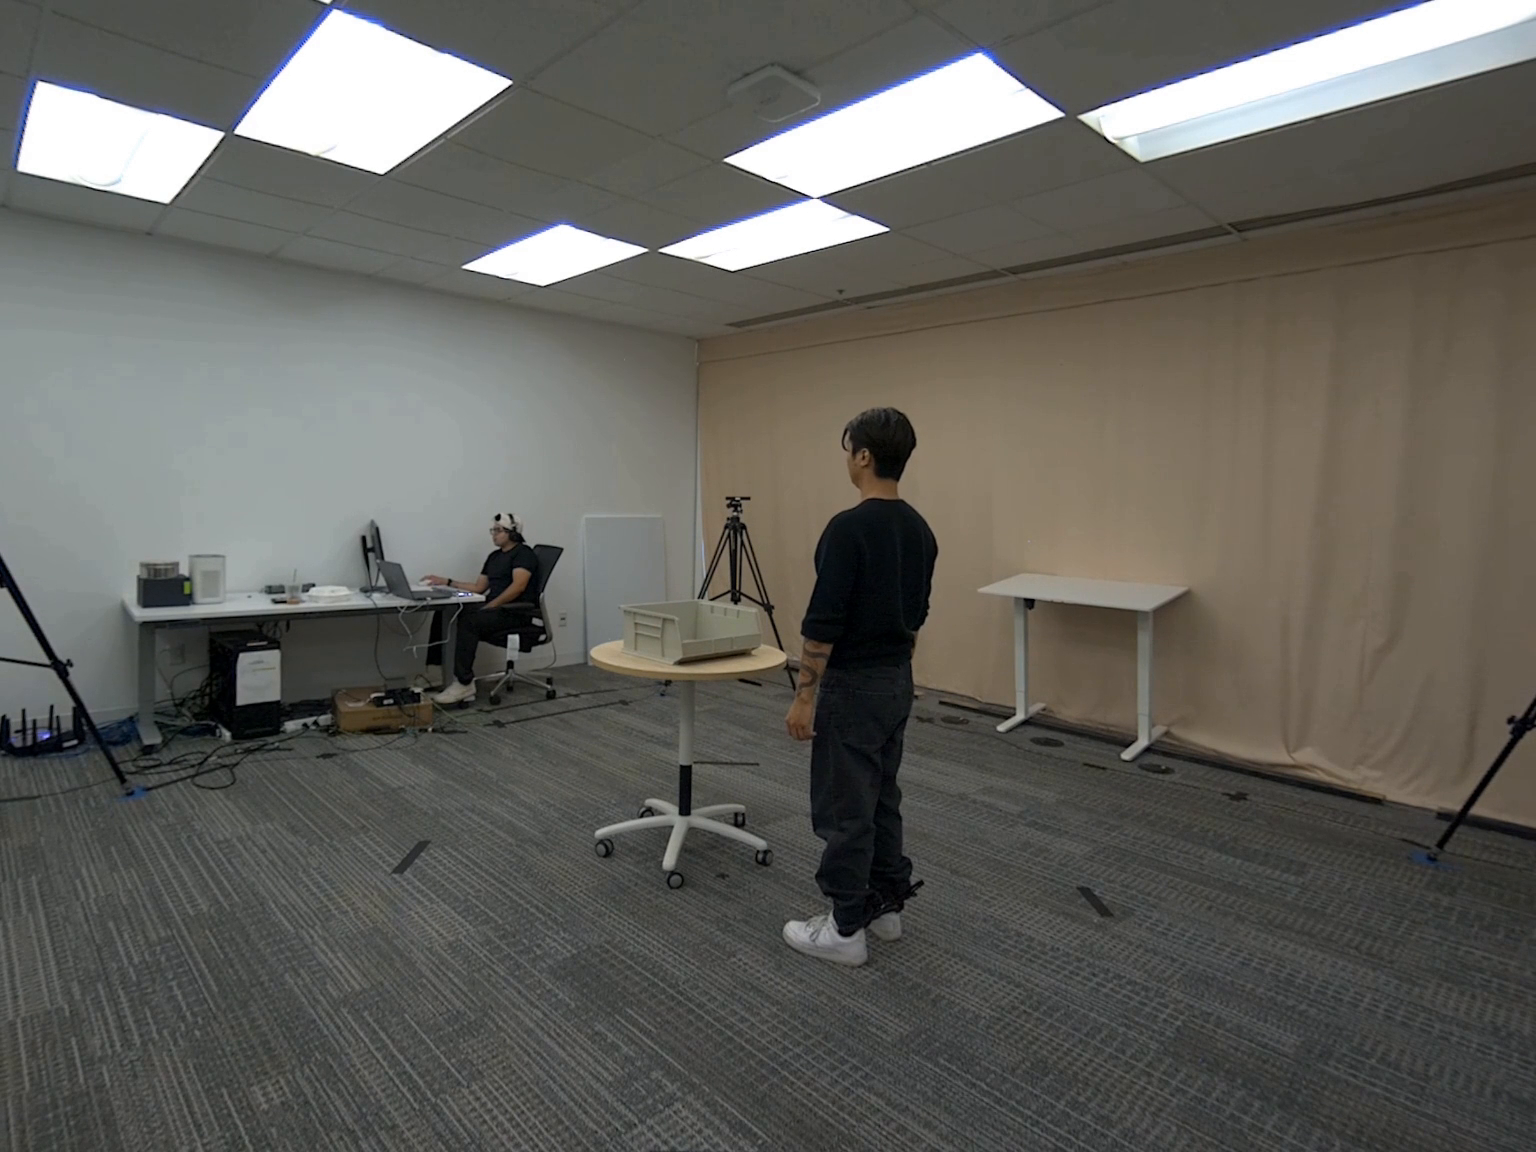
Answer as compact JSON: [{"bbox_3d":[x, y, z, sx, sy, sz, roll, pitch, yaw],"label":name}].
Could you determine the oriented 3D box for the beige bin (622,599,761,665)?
[{"bbox_3d":[-0.303,0.215,3.267,0.413,0.188,0.387,-4,6,-45],"label":"beige bin"}]
